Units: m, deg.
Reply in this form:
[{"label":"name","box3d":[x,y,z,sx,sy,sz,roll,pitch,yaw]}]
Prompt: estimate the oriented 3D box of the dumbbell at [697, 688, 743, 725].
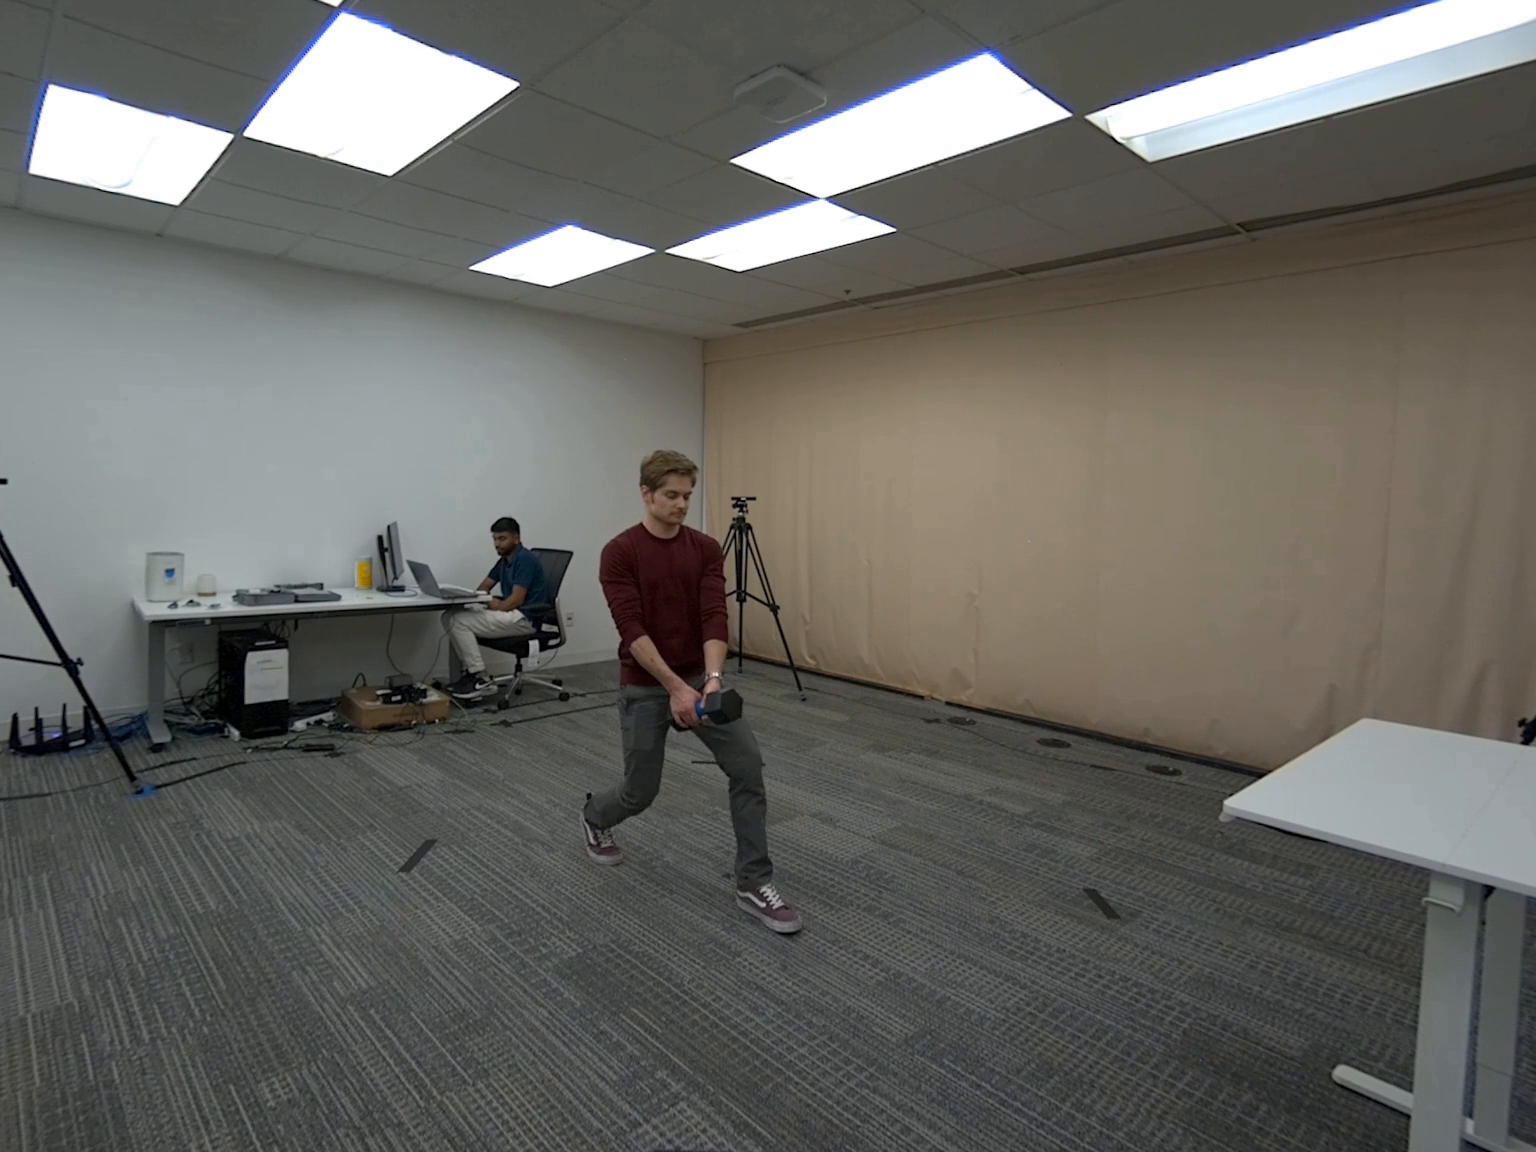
[{"label":"dumbbell","box3d":[-0.220,0.450,2.772,0.297,0.121,0.109,-21,26,47]}]
